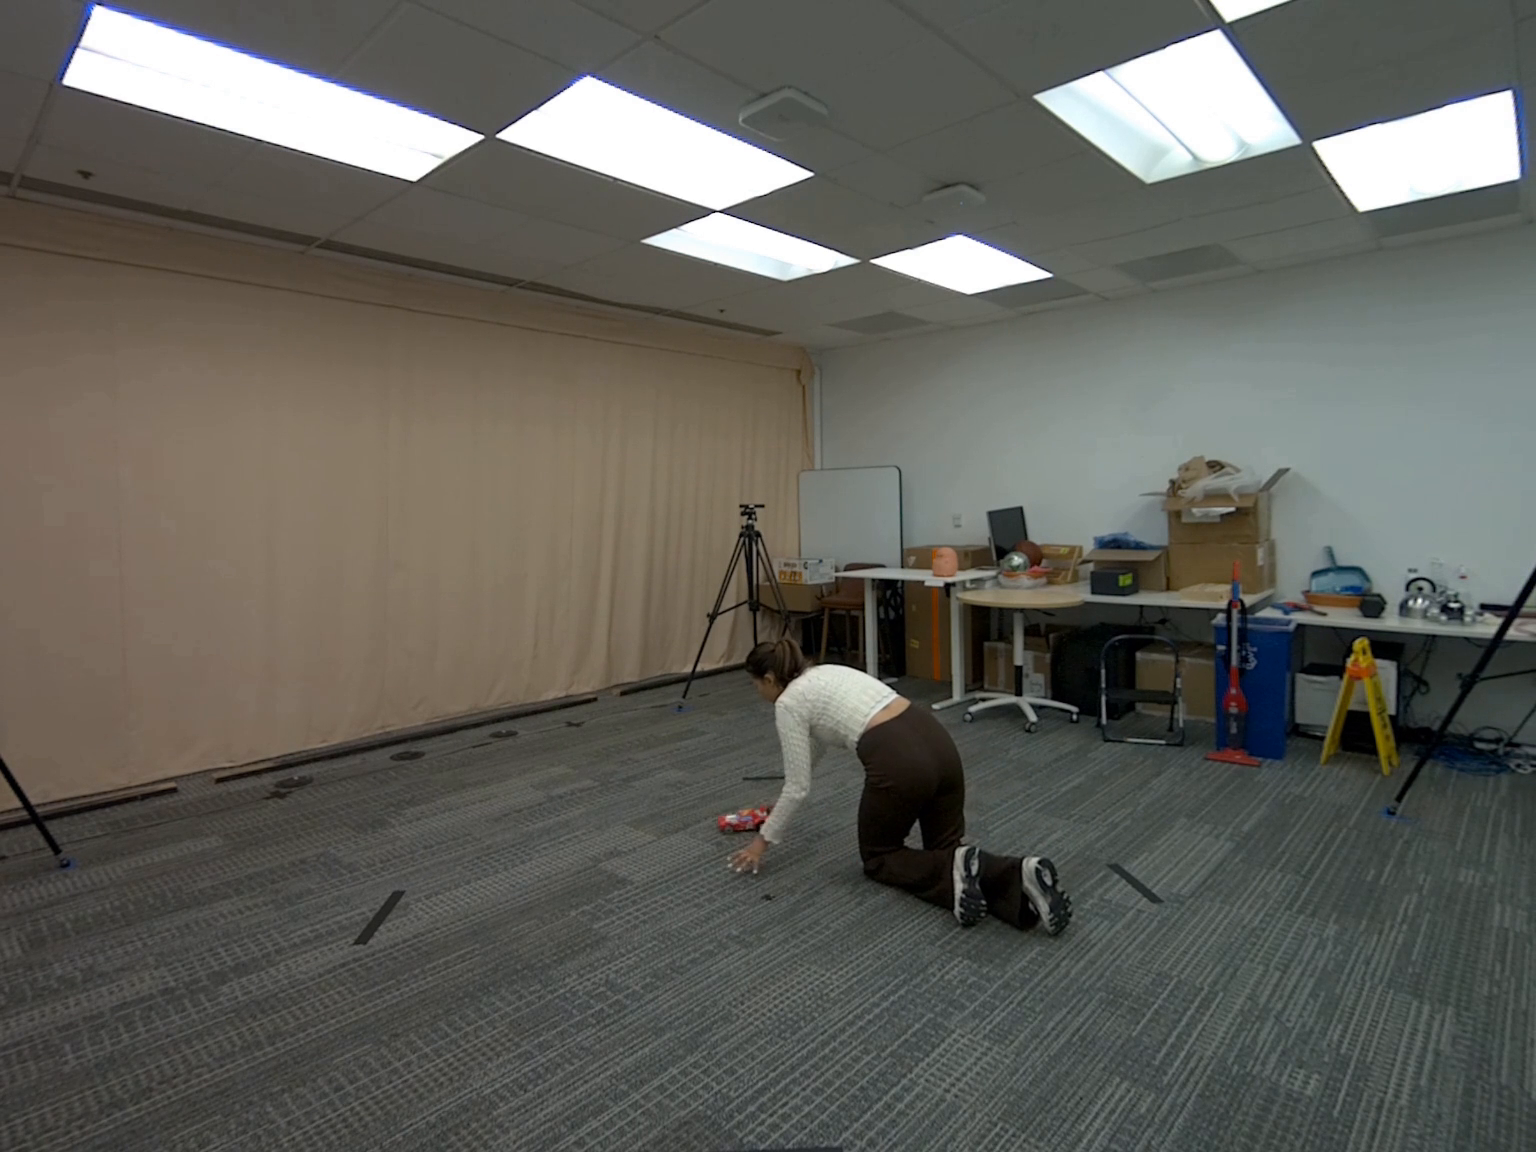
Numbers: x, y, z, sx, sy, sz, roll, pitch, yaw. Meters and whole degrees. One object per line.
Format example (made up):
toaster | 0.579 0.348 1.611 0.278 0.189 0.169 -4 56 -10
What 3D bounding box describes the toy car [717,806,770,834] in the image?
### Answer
toy car | -0.089 1.058 3.626 0.252 0.083 0.132 -12 6 -8
